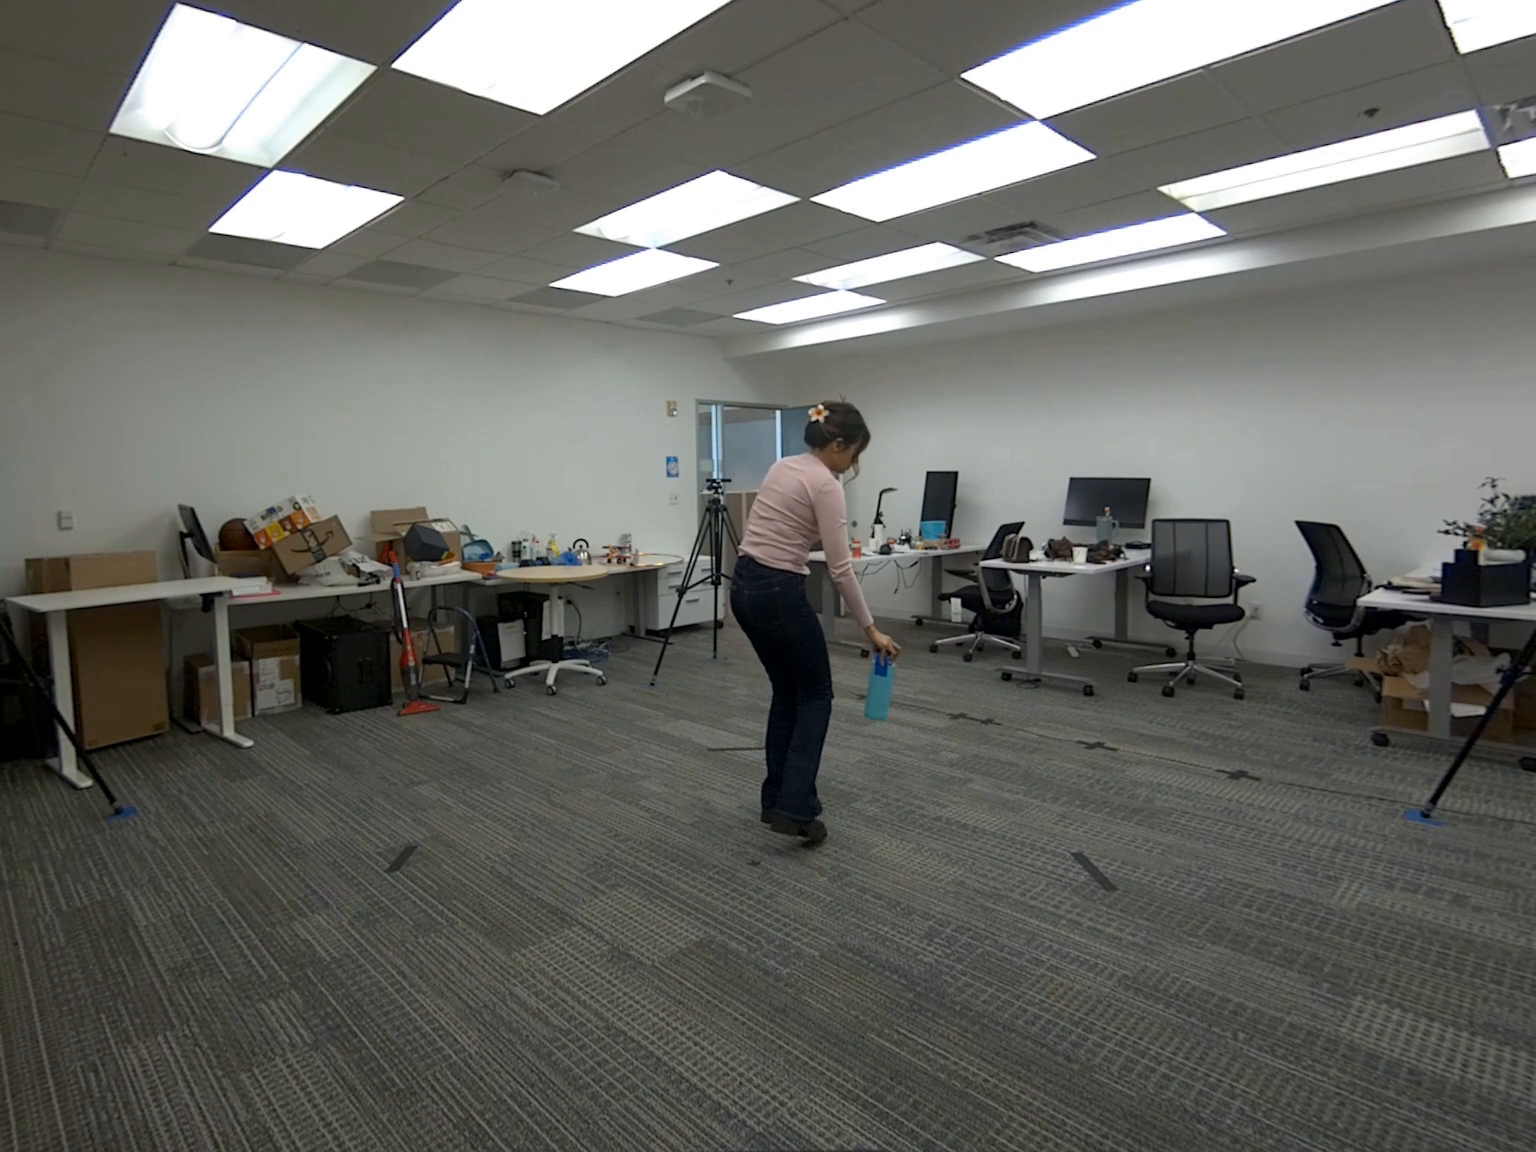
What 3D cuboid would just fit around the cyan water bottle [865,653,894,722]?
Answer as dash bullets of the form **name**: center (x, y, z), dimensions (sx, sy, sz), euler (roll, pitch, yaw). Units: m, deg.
- **cyan water bottle**: center (0.430, 0.406, 3.262), dimensions (0.092, 0.281, 0.093), euler (6, 10, -3)
